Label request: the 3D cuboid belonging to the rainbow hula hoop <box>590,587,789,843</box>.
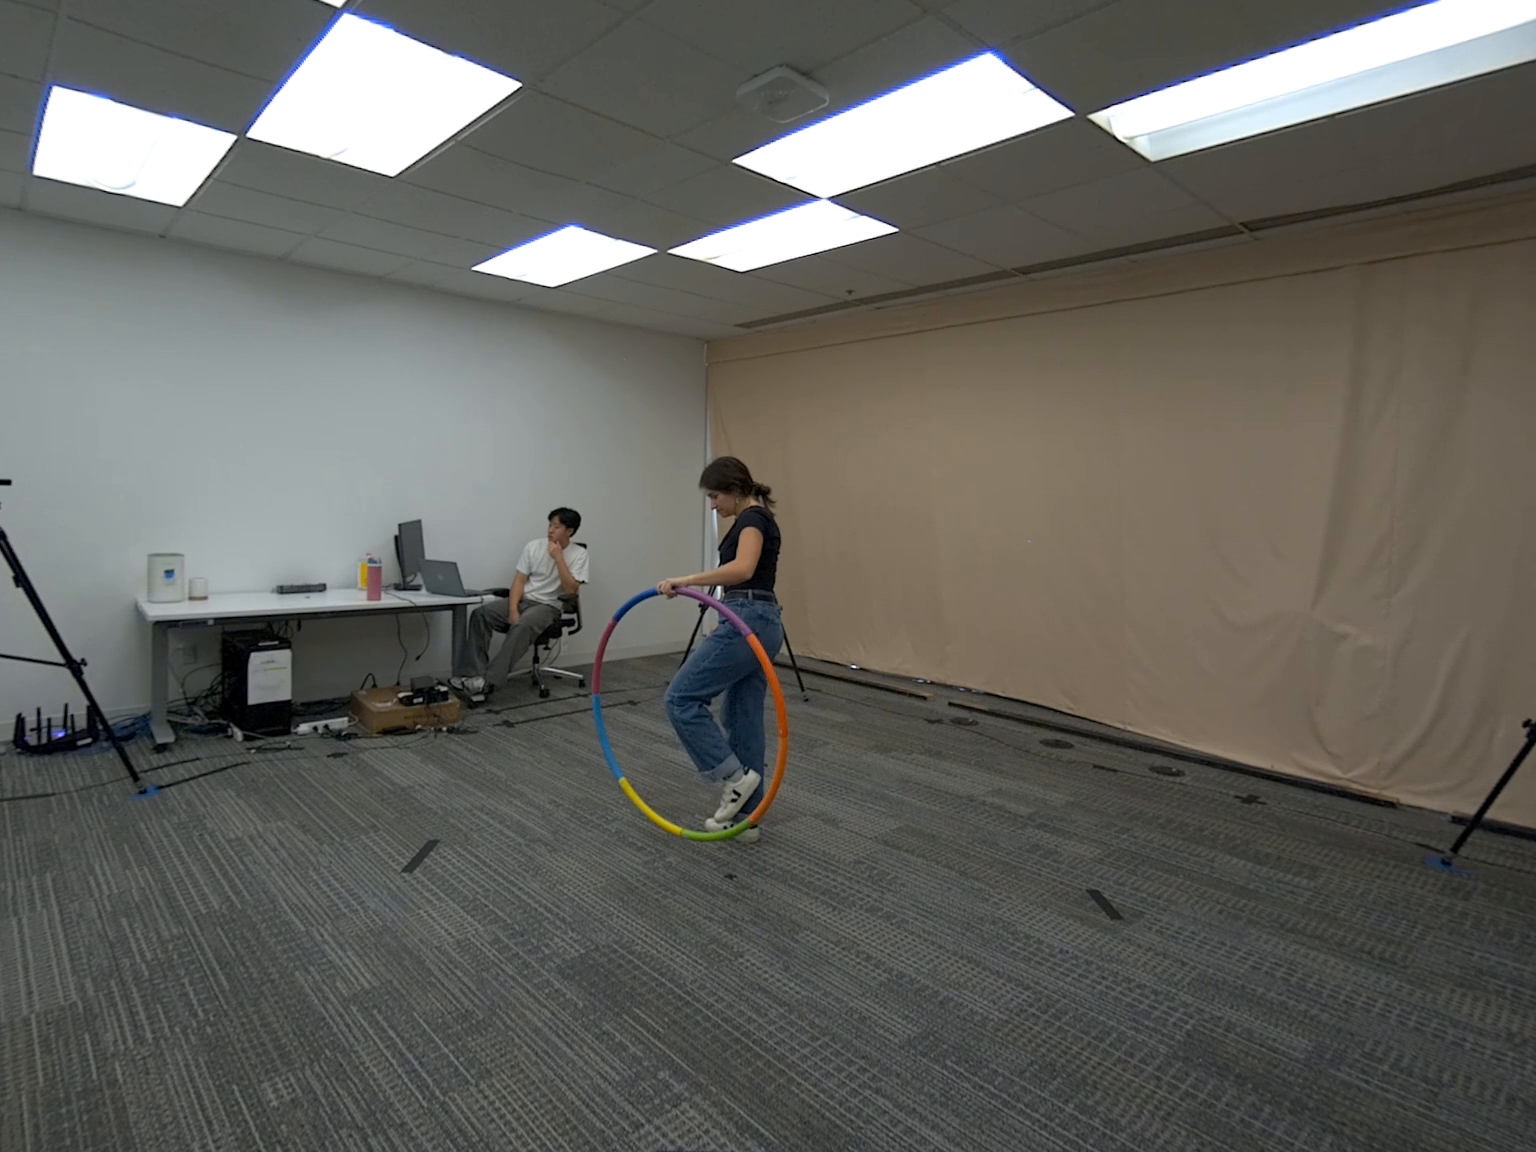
[{"bbox_3d":[-0.337,0.526,3.223,1.003,0.974,0.035,5,8,37],"label":"rainbow hula hoop"}]
